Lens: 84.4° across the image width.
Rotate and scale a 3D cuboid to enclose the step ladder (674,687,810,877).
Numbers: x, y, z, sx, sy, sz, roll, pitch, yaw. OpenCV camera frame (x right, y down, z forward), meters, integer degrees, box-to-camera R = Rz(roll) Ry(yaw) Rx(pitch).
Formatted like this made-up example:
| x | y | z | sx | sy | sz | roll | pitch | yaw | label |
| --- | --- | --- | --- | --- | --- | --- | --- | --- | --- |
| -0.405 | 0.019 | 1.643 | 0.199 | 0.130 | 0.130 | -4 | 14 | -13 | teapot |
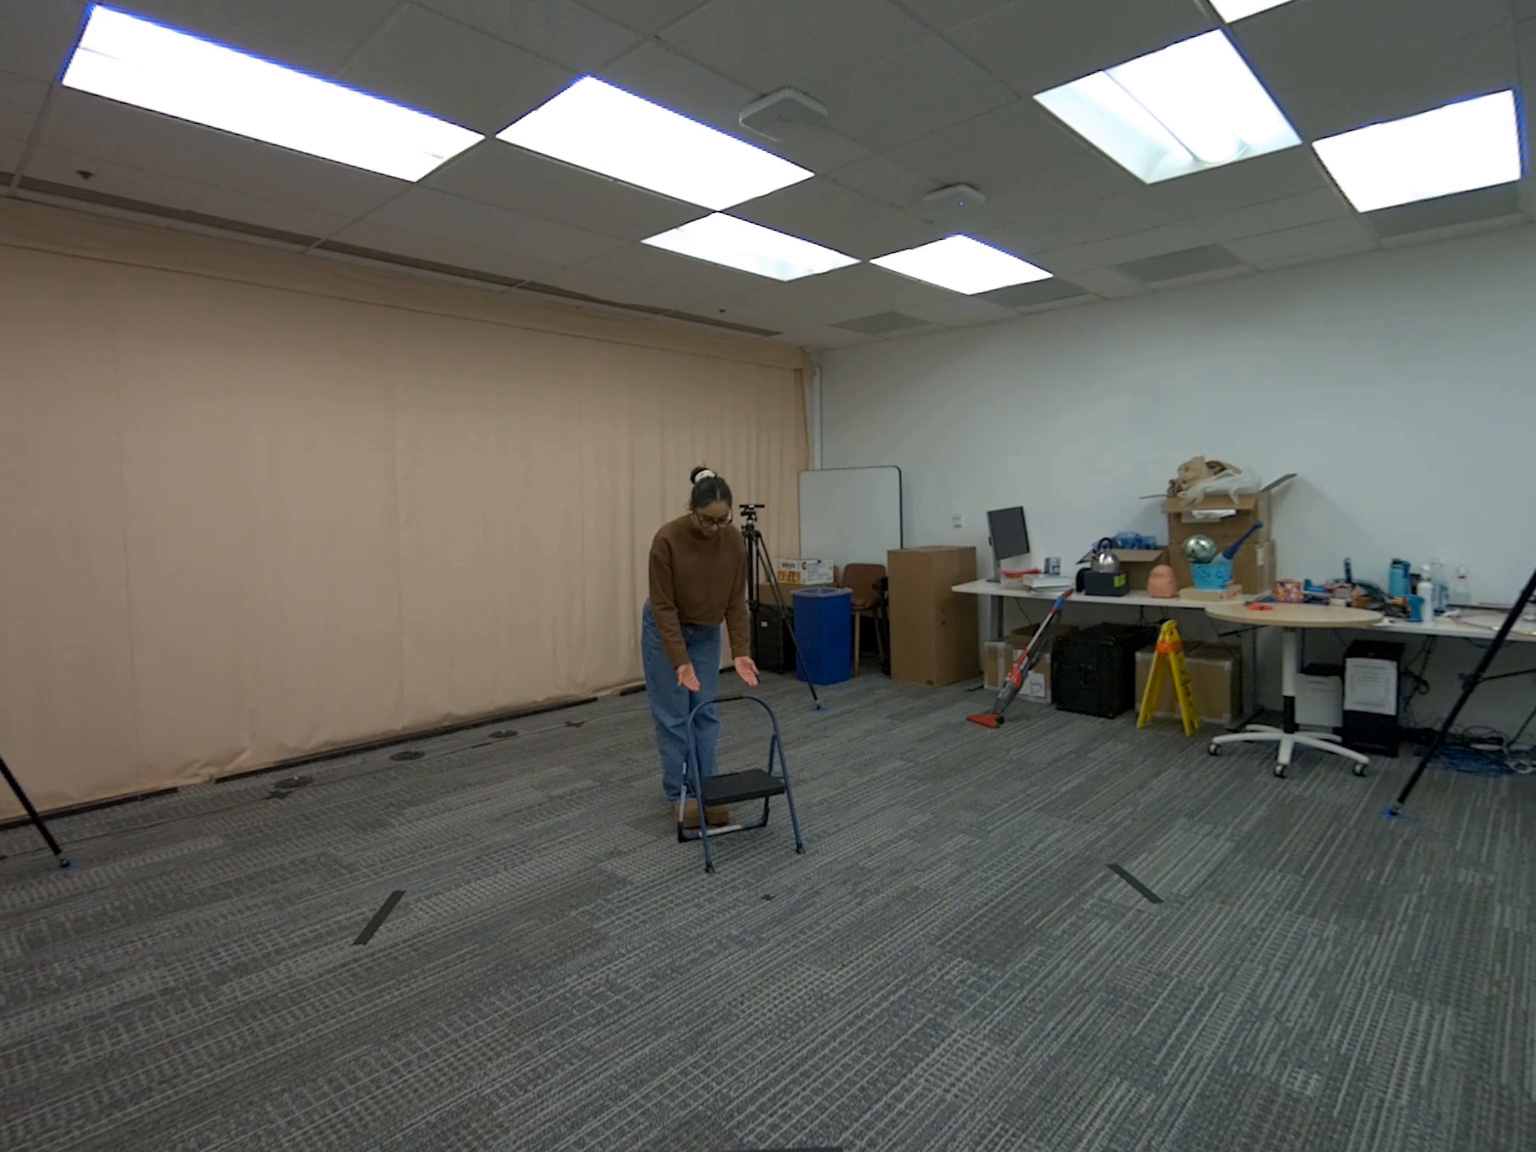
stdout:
| x | y | z | sx | sy | sz | roll | pitch | yaw | label |
| --- | --- | --- | --- | --- | --- | --- | --- | --- | --- |
| -0.116 | 0.801 | 3.412 | 0.420 | 0.605 | 0.358 | -2 | 3 | -26 | step ladder |
